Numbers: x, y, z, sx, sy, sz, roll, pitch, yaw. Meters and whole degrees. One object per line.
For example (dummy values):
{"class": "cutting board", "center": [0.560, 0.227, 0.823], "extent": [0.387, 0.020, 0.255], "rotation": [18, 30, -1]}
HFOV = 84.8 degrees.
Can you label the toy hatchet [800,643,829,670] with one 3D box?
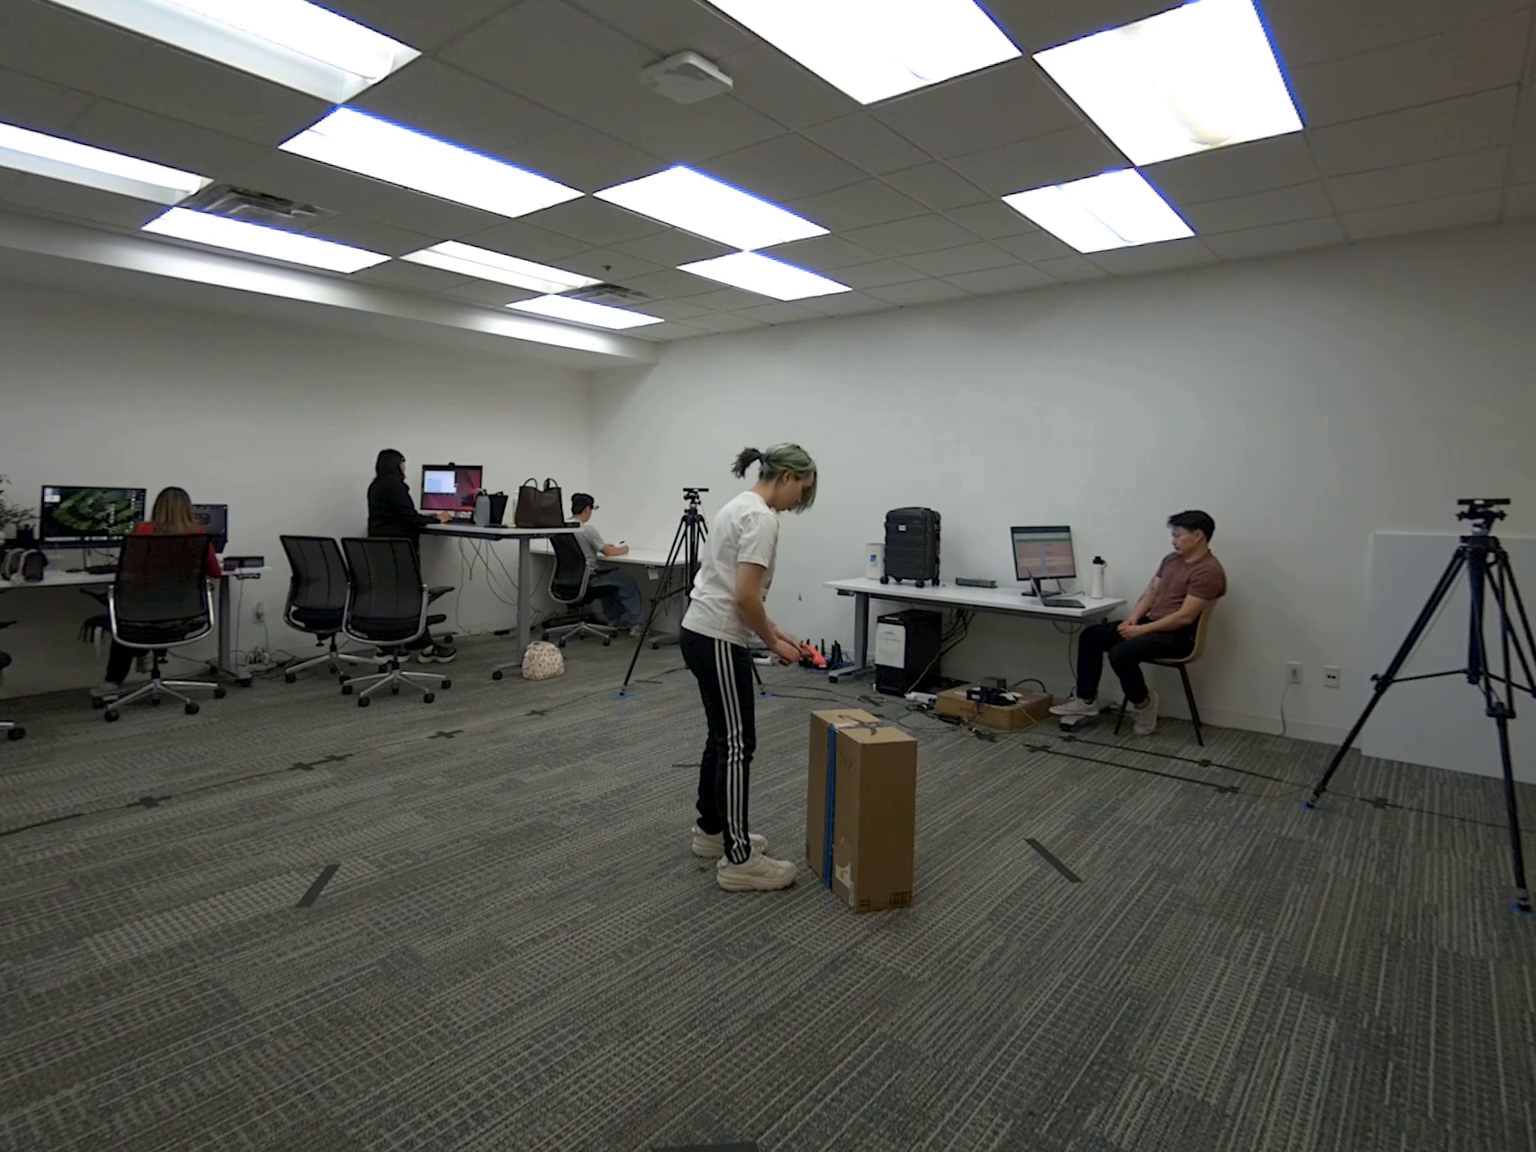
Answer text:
{"class": "toy hatchet", "center": [0.131, 0.322, 3.144], "extent": [0.135, 0.029, 0.265], "rotation": [33, 23, 19]}
